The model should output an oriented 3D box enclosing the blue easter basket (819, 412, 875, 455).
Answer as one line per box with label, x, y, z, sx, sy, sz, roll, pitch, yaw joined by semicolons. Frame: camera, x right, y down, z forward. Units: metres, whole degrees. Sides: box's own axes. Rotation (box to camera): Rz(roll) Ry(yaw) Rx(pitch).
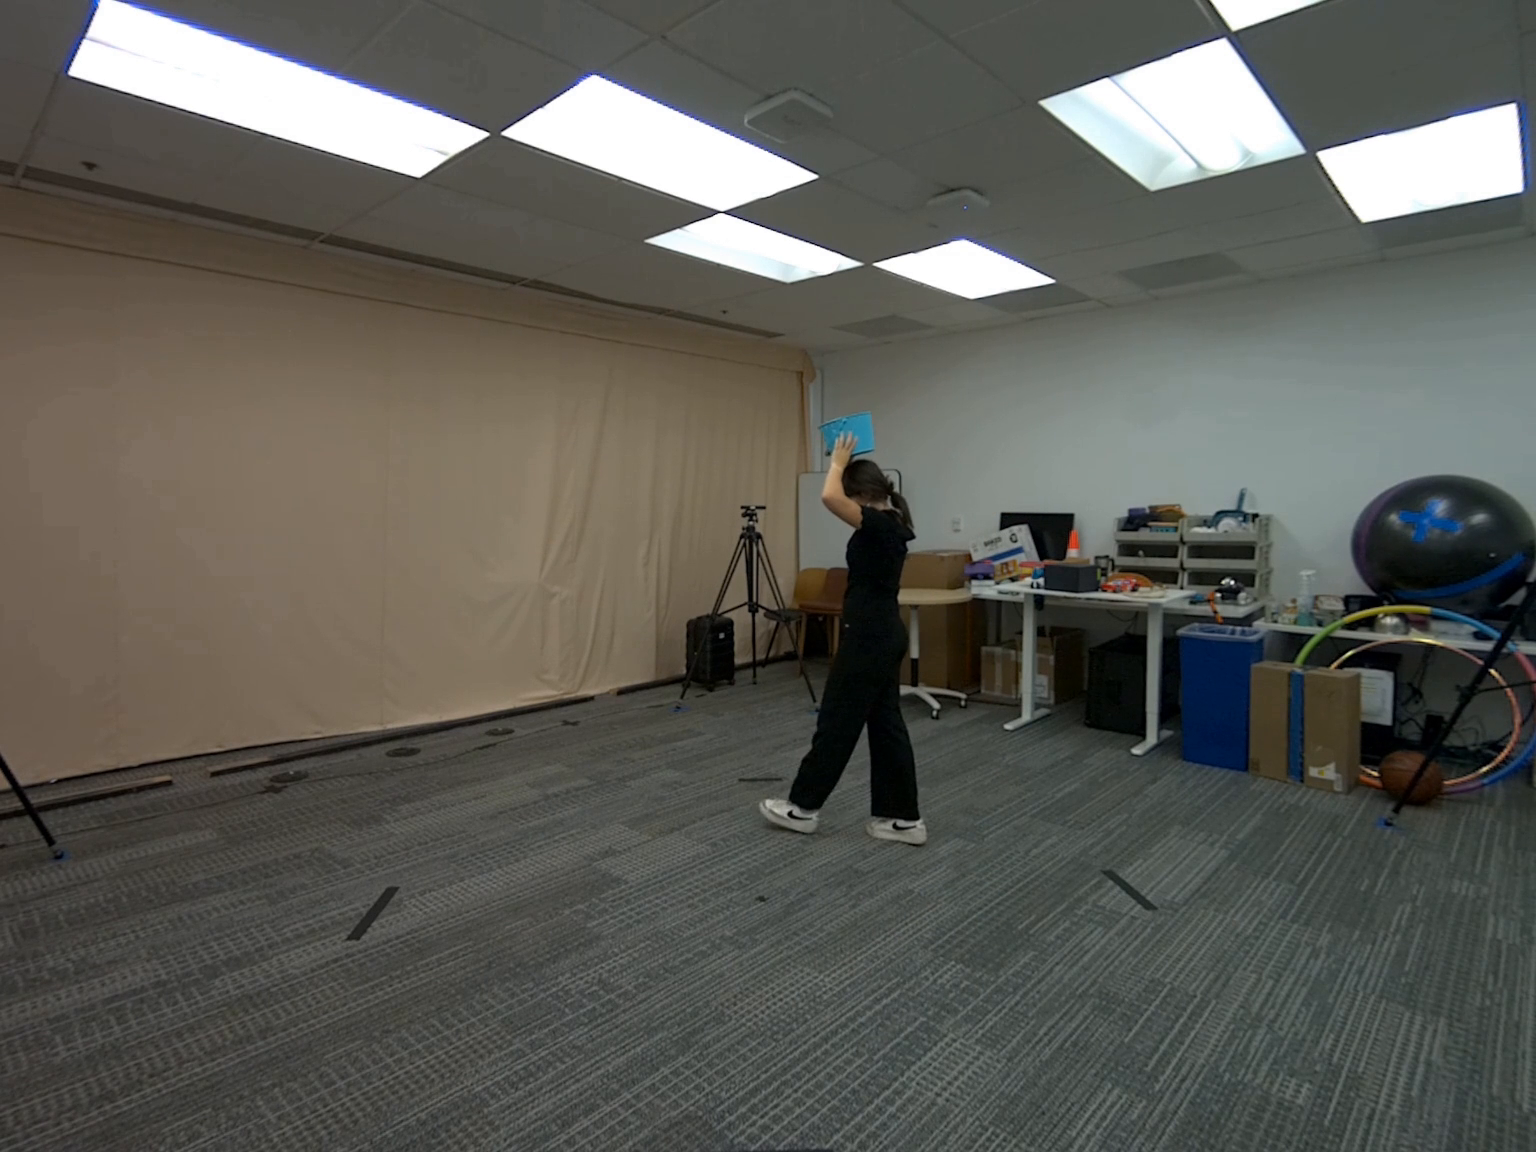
blue easter basket;0.335;-0.571;3.510;0.243;0.156;0.244;-13;1;-2
